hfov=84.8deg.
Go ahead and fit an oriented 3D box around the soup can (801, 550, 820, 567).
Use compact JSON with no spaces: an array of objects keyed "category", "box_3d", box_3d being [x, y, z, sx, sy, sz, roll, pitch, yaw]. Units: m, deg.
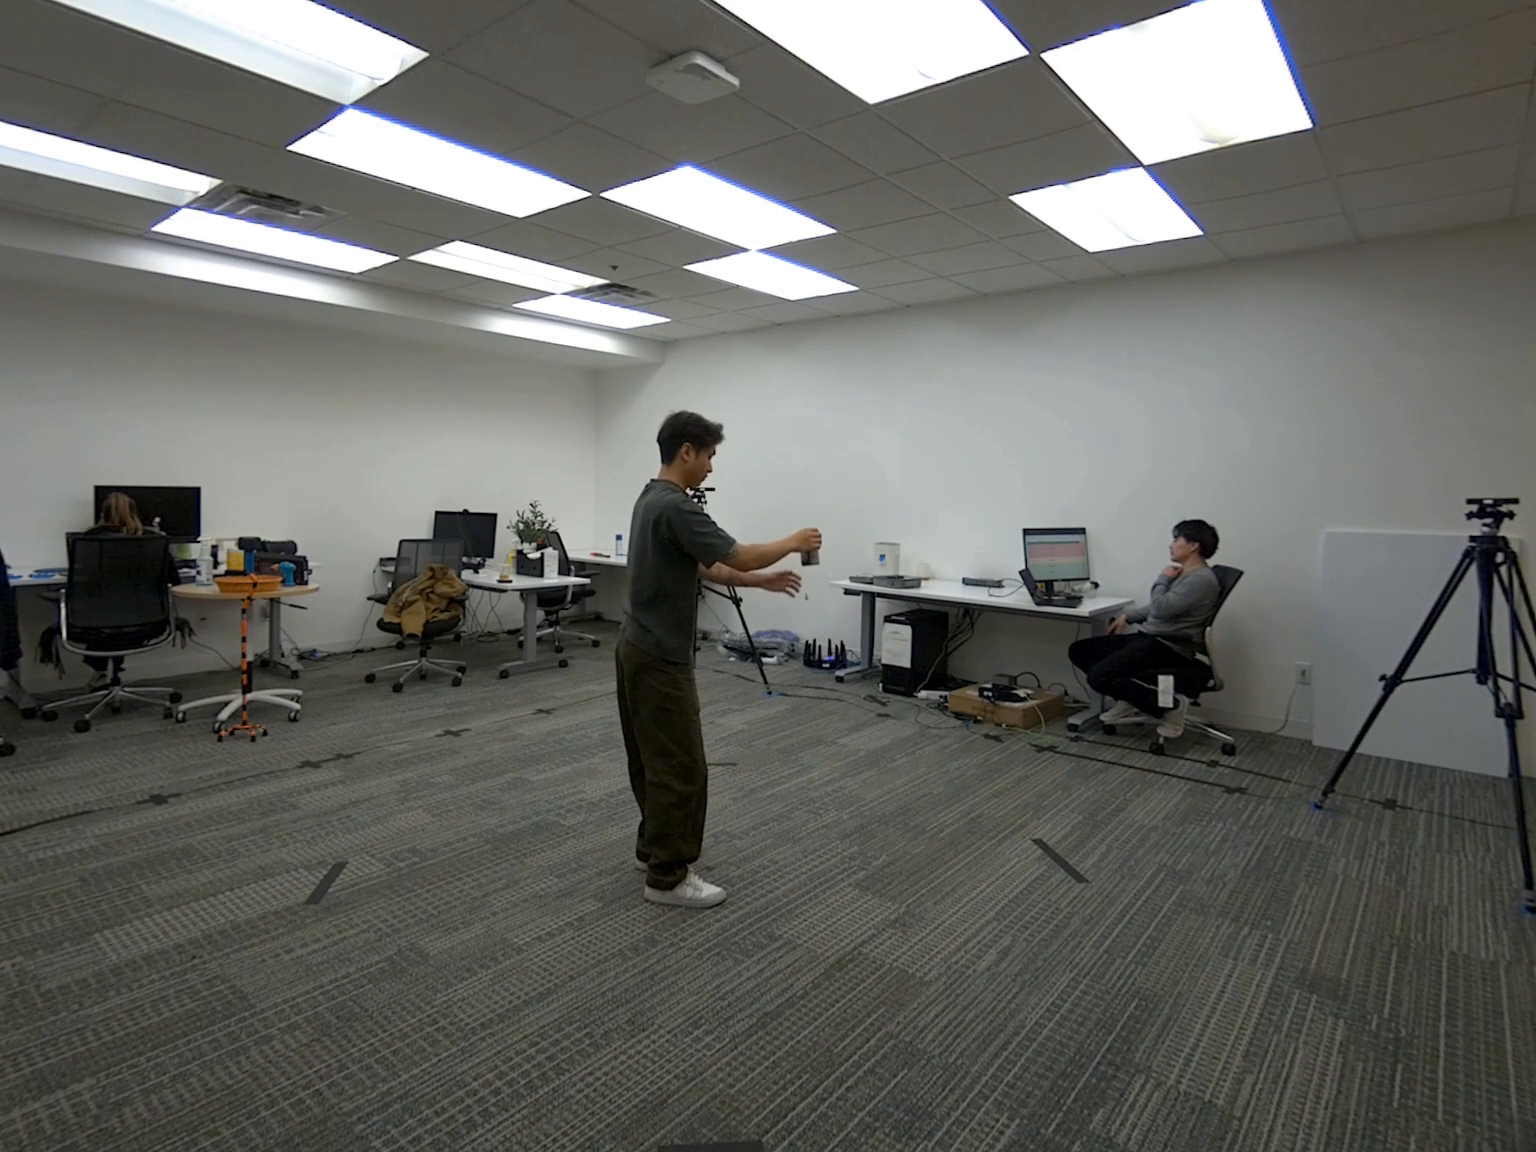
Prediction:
[{"category":"soup can","box_3d":[0.134,-0.103,3.047,0.067,0.122,0.067,0,-3,-2]}]
